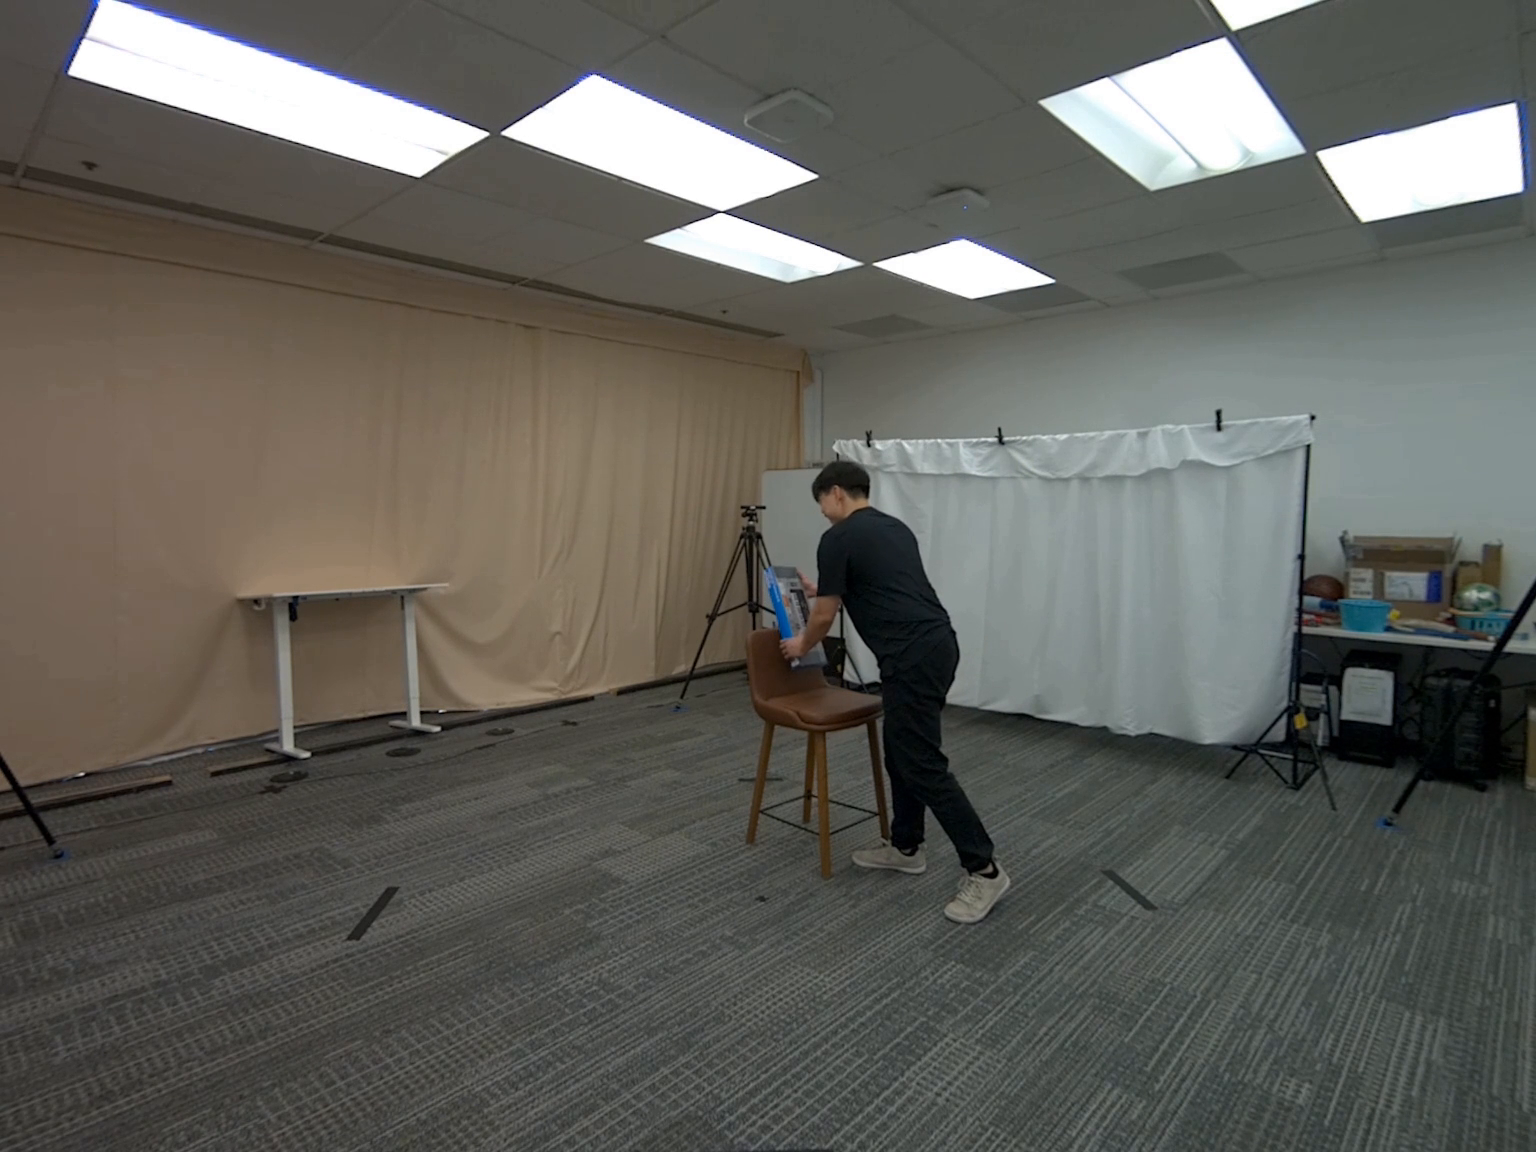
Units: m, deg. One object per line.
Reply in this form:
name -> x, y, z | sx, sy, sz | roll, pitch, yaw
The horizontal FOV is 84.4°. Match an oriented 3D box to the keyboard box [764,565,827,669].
keyboard box -> 0.118, 0.172, 3.519 | 0.170, 0.444, 0.060 | 3, -26, -45
